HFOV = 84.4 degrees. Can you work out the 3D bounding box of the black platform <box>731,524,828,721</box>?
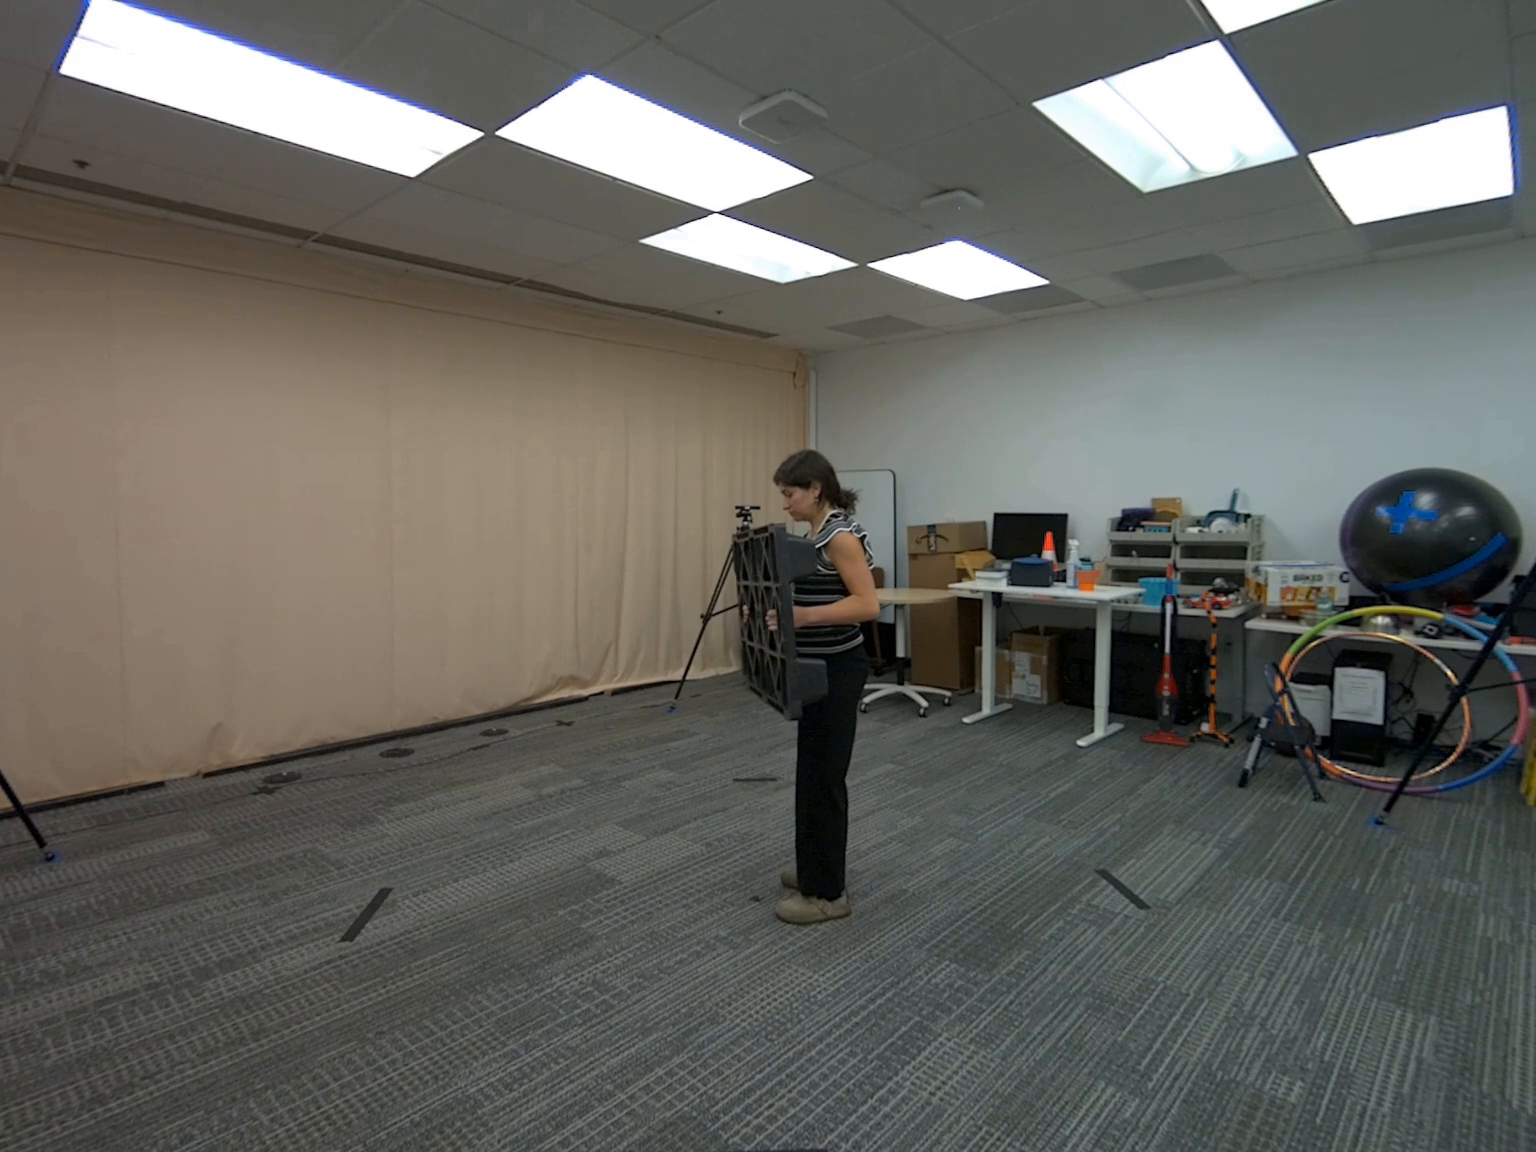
[{"bbox_3d":[0.025,0.136,2.916,0.142,0.605,0.814,-2,0,-12],"label":"black platform"}]
